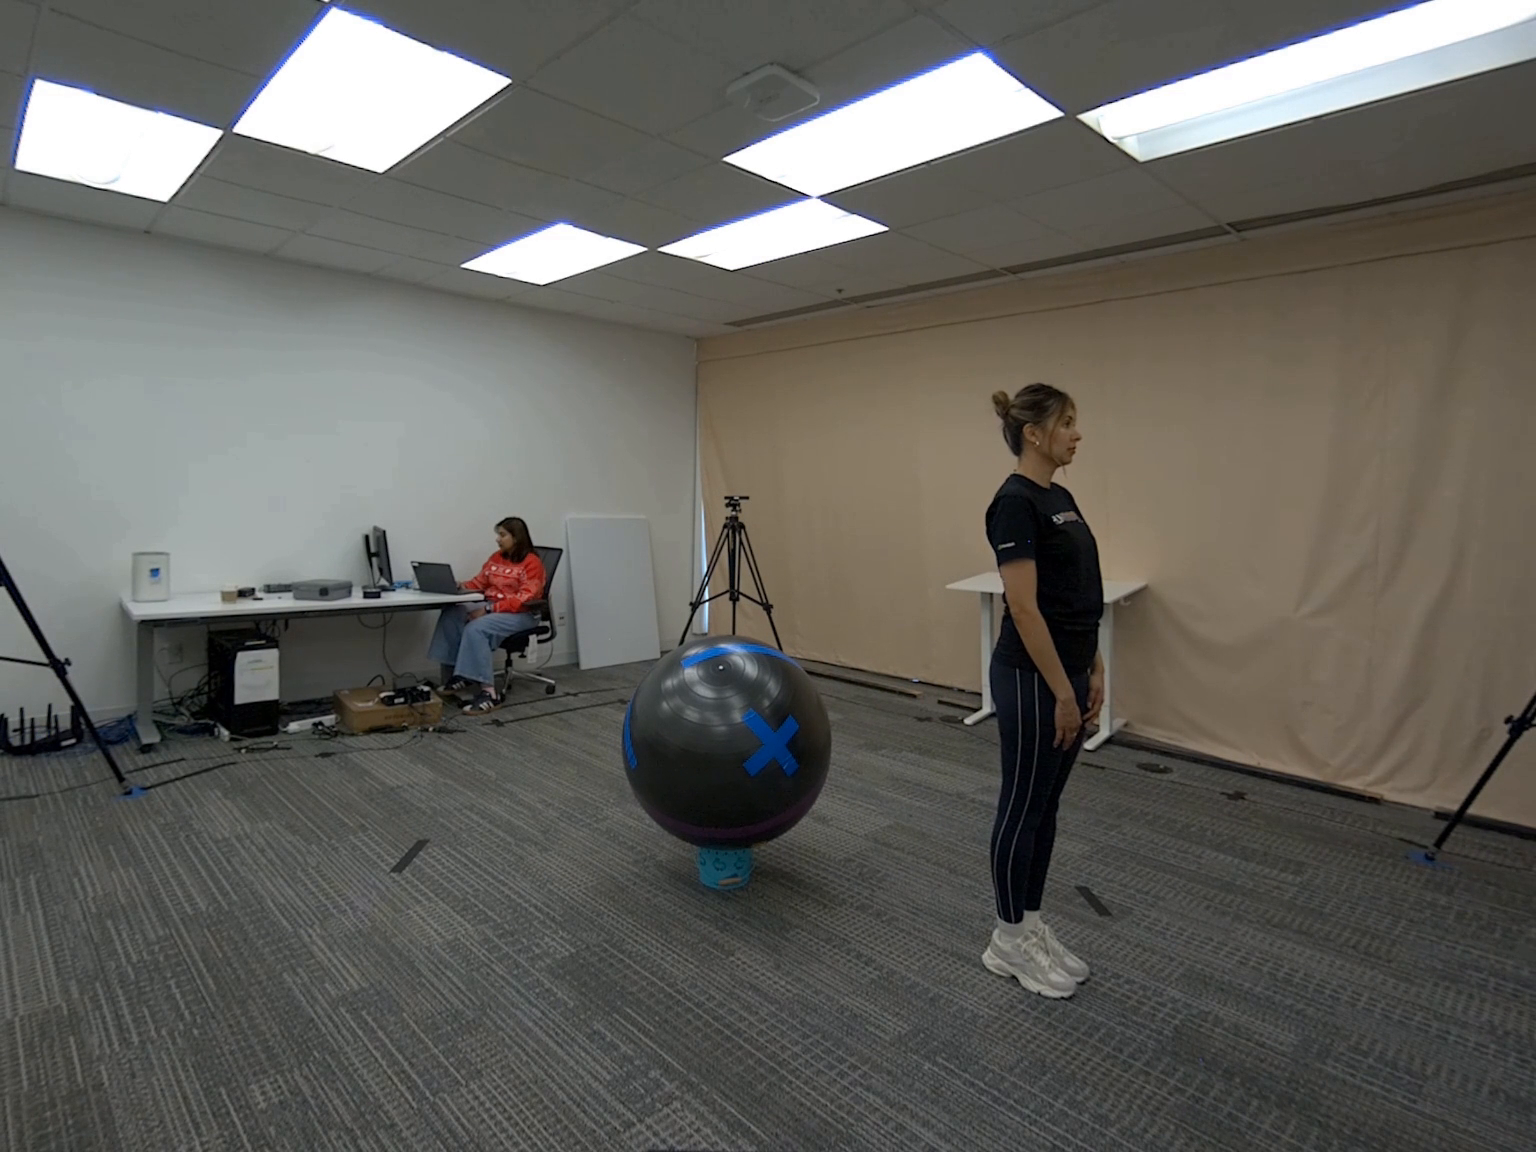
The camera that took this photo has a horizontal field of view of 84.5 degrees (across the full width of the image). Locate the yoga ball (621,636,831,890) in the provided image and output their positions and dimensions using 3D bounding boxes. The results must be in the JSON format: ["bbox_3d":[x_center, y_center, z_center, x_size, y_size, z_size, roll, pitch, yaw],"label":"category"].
[{"bbox_3d":[-0.155,0.599,3.049,0.757,0.756,0.761,1,4,-1],"label":"yoga ball"}]
